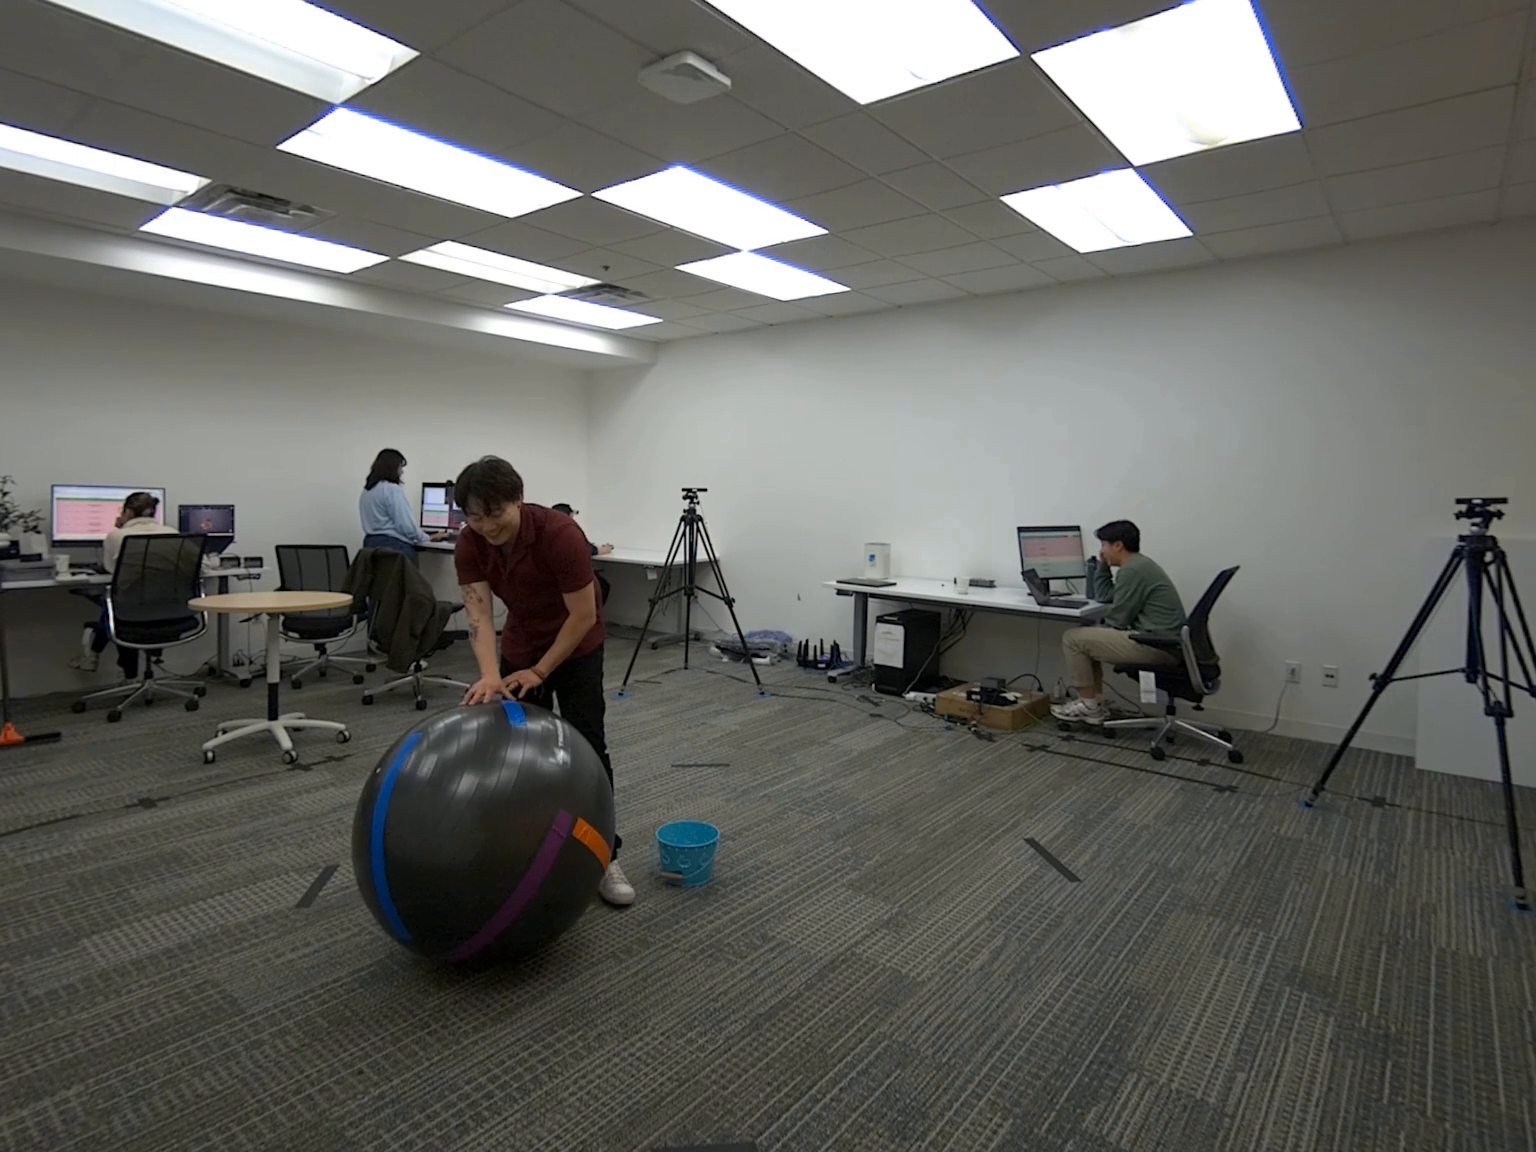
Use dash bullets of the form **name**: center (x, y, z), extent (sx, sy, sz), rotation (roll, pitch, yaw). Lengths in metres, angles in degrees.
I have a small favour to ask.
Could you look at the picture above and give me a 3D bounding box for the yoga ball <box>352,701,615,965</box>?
- **yoga ball**: center (-0.850, 0.759, 2.536), extent (0.757, 0.755, 0.762), rotation (1, 4, -2)
